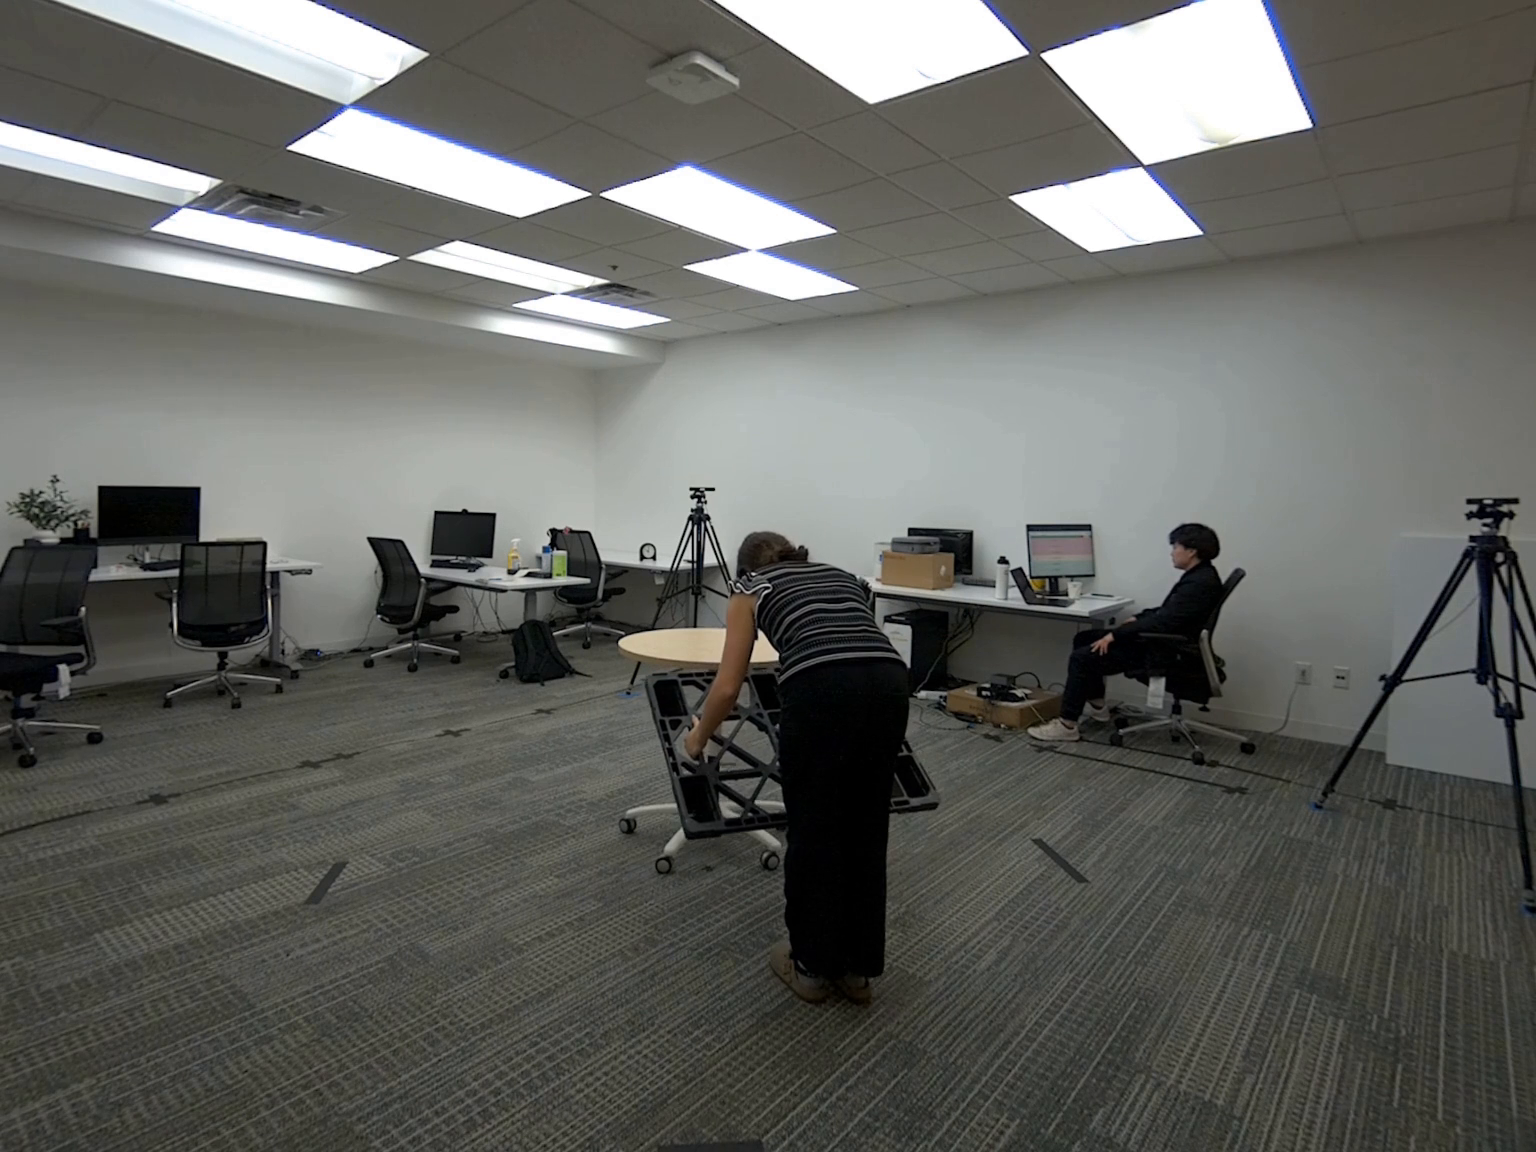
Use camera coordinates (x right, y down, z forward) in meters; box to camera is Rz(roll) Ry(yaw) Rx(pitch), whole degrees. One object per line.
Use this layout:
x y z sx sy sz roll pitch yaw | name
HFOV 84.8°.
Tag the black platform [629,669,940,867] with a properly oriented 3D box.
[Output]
0.042 0.544 2.685 0.790 0.140 0.629 -1 38 -19 | black platform
